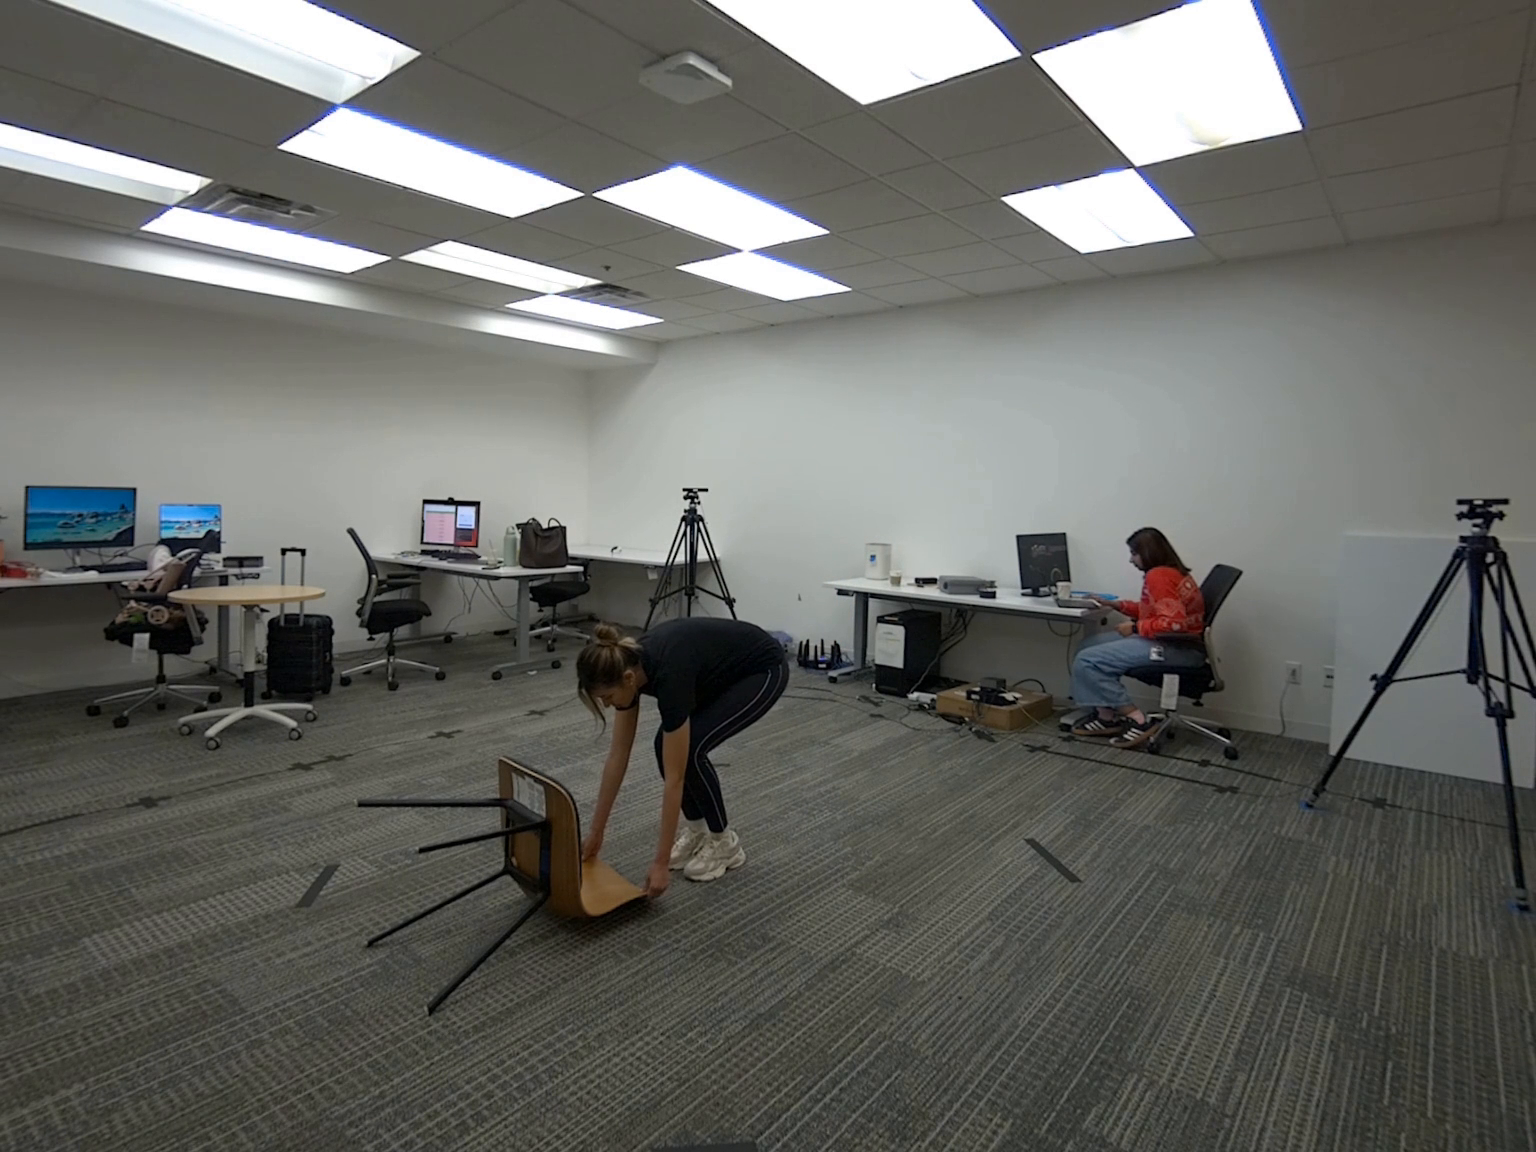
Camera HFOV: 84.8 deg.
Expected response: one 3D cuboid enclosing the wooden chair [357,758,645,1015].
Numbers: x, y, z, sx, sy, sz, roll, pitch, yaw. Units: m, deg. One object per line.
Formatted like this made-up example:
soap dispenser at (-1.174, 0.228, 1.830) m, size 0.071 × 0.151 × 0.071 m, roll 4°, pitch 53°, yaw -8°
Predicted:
wooden chair at (-0.753, 0.838, 2.660) m, size 0.851 × 0.521 × 0.494 m, roll -3°, pitch 6°, yaw -44°
